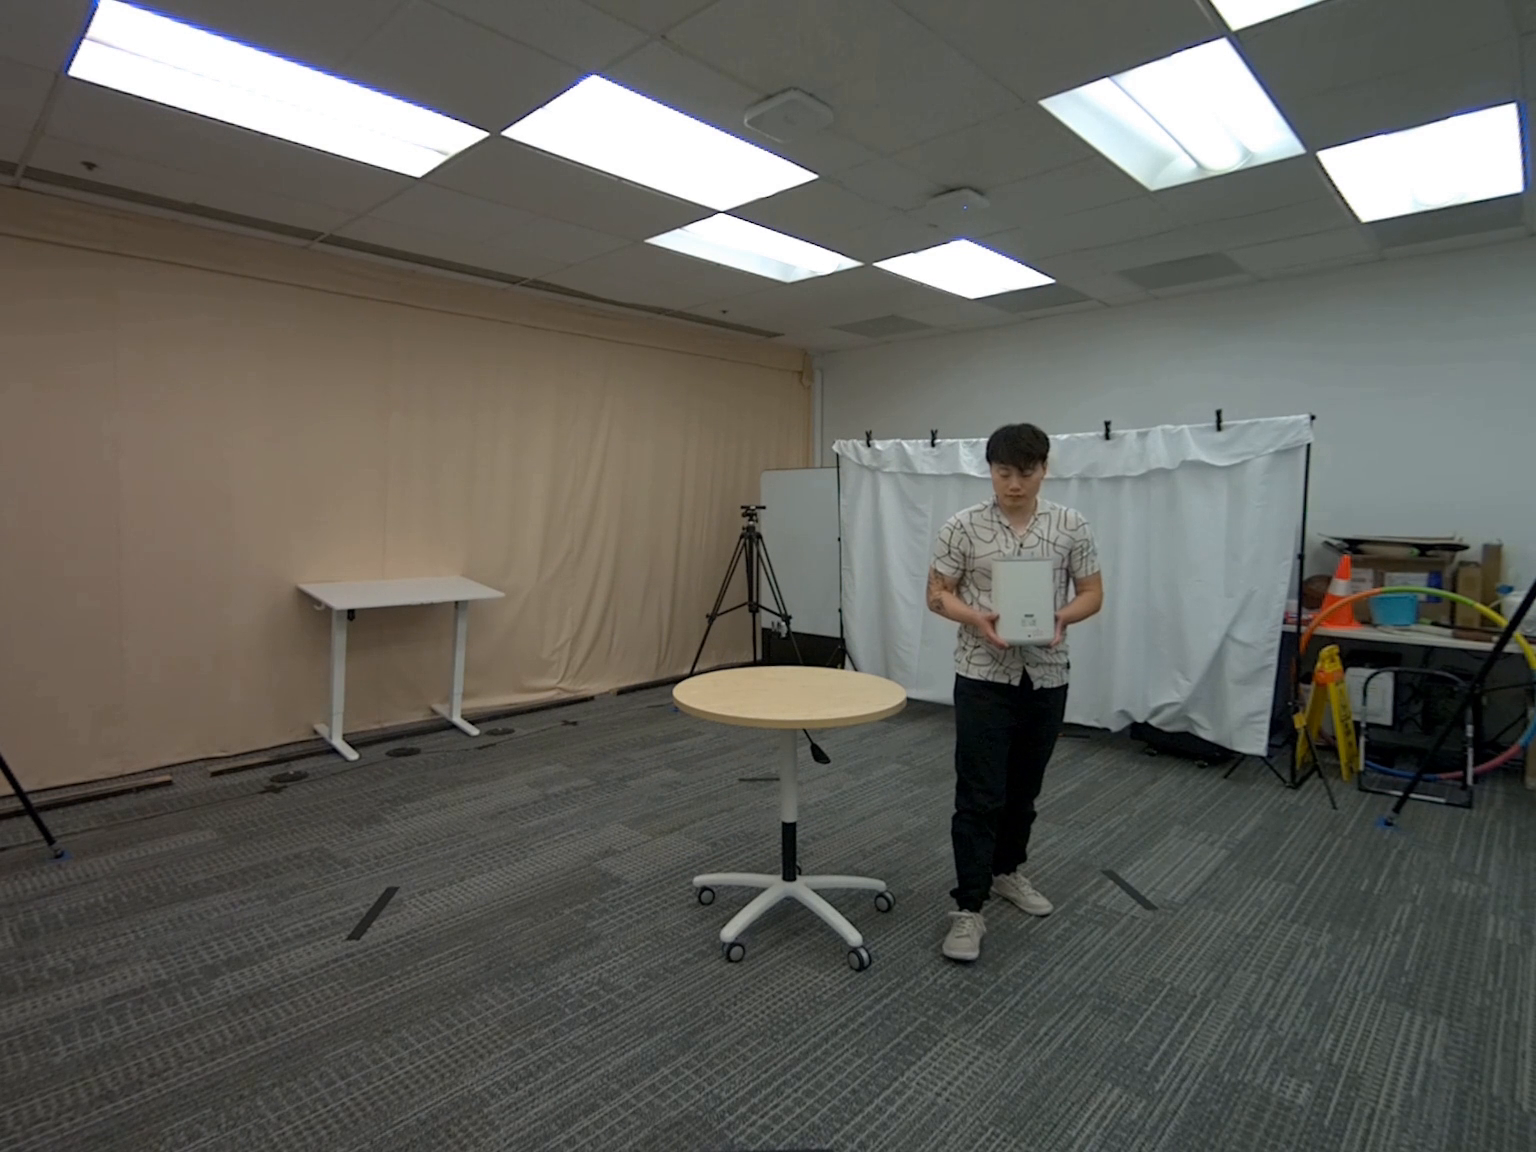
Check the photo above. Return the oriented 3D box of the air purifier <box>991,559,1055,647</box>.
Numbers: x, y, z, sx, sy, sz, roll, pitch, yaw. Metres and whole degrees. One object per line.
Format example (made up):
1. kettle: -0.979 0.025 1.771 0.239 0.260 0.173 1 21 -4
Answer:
1. air purifier: 0.784 0.068 2.608 0.172 0.265 0.170 5 1 6
